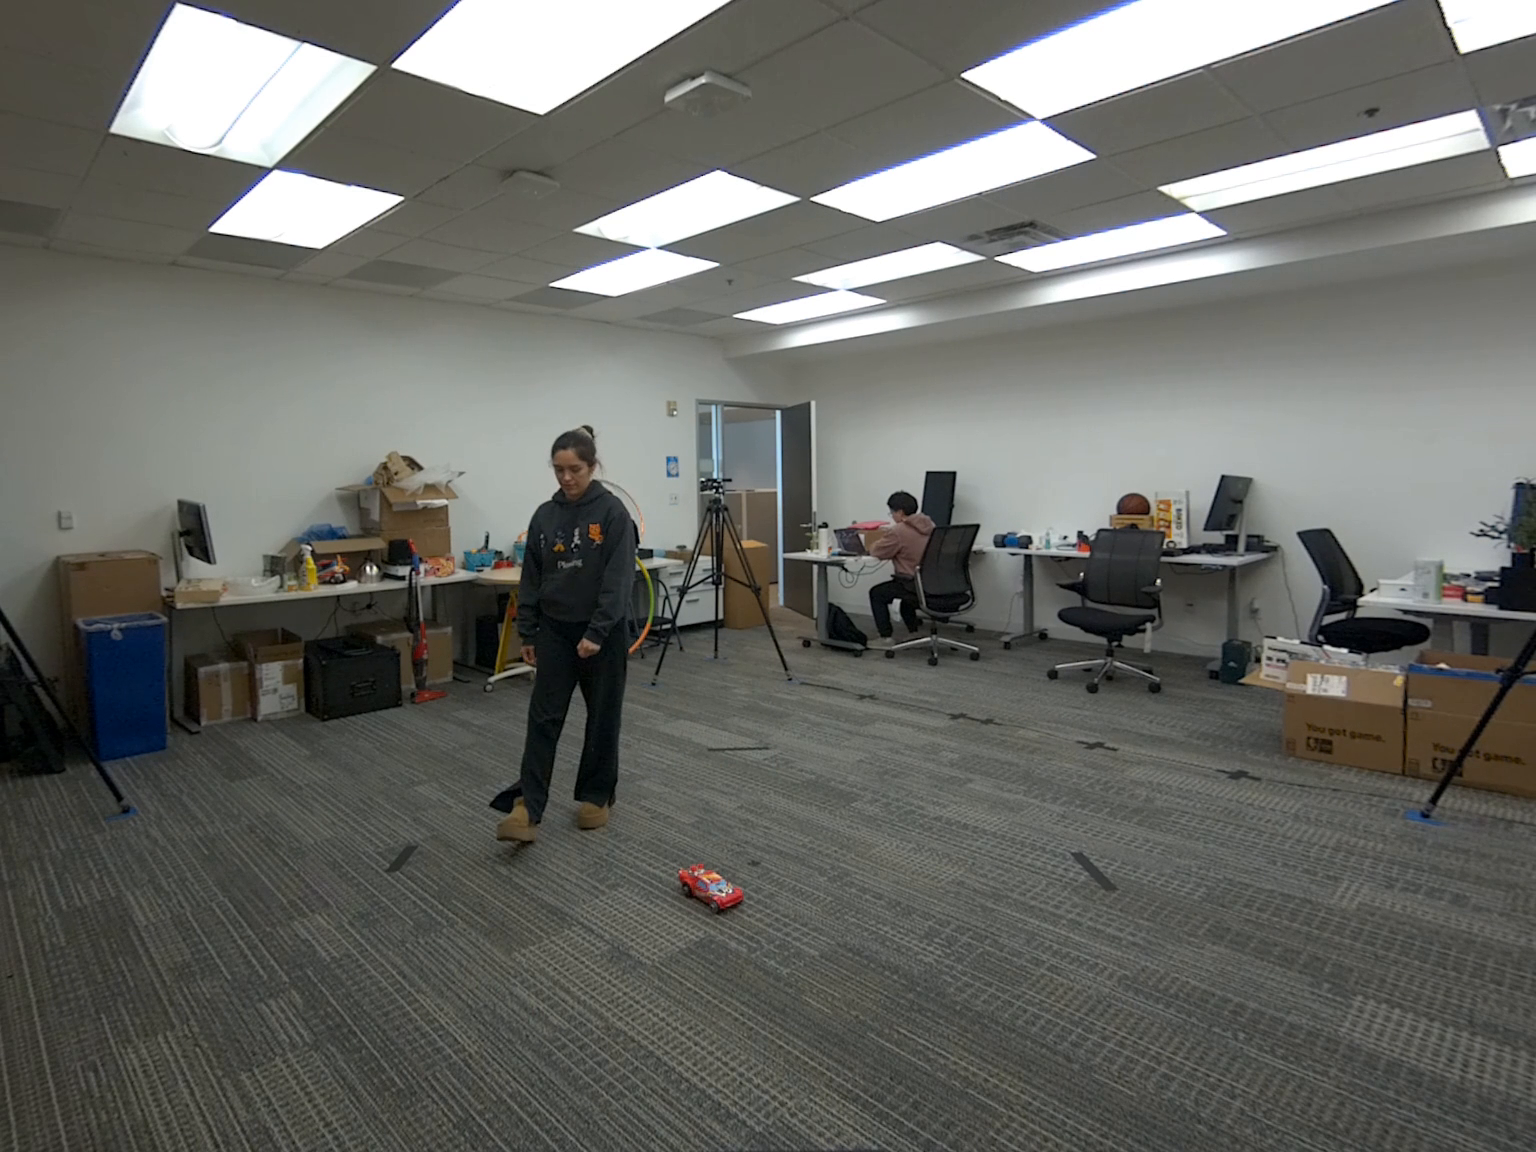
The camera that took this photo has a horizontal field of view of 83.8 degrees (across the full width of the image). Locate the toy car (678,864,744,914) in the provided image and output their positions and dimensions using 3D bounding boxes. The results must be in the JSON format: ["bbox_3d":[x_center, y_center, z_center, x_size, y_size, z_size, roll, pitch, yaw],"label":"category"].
[{"bbox_3d":[-0.197,1.047,2.846,0.127,0.082,0.264,-6,19,-40],"label":"toy car"}]
